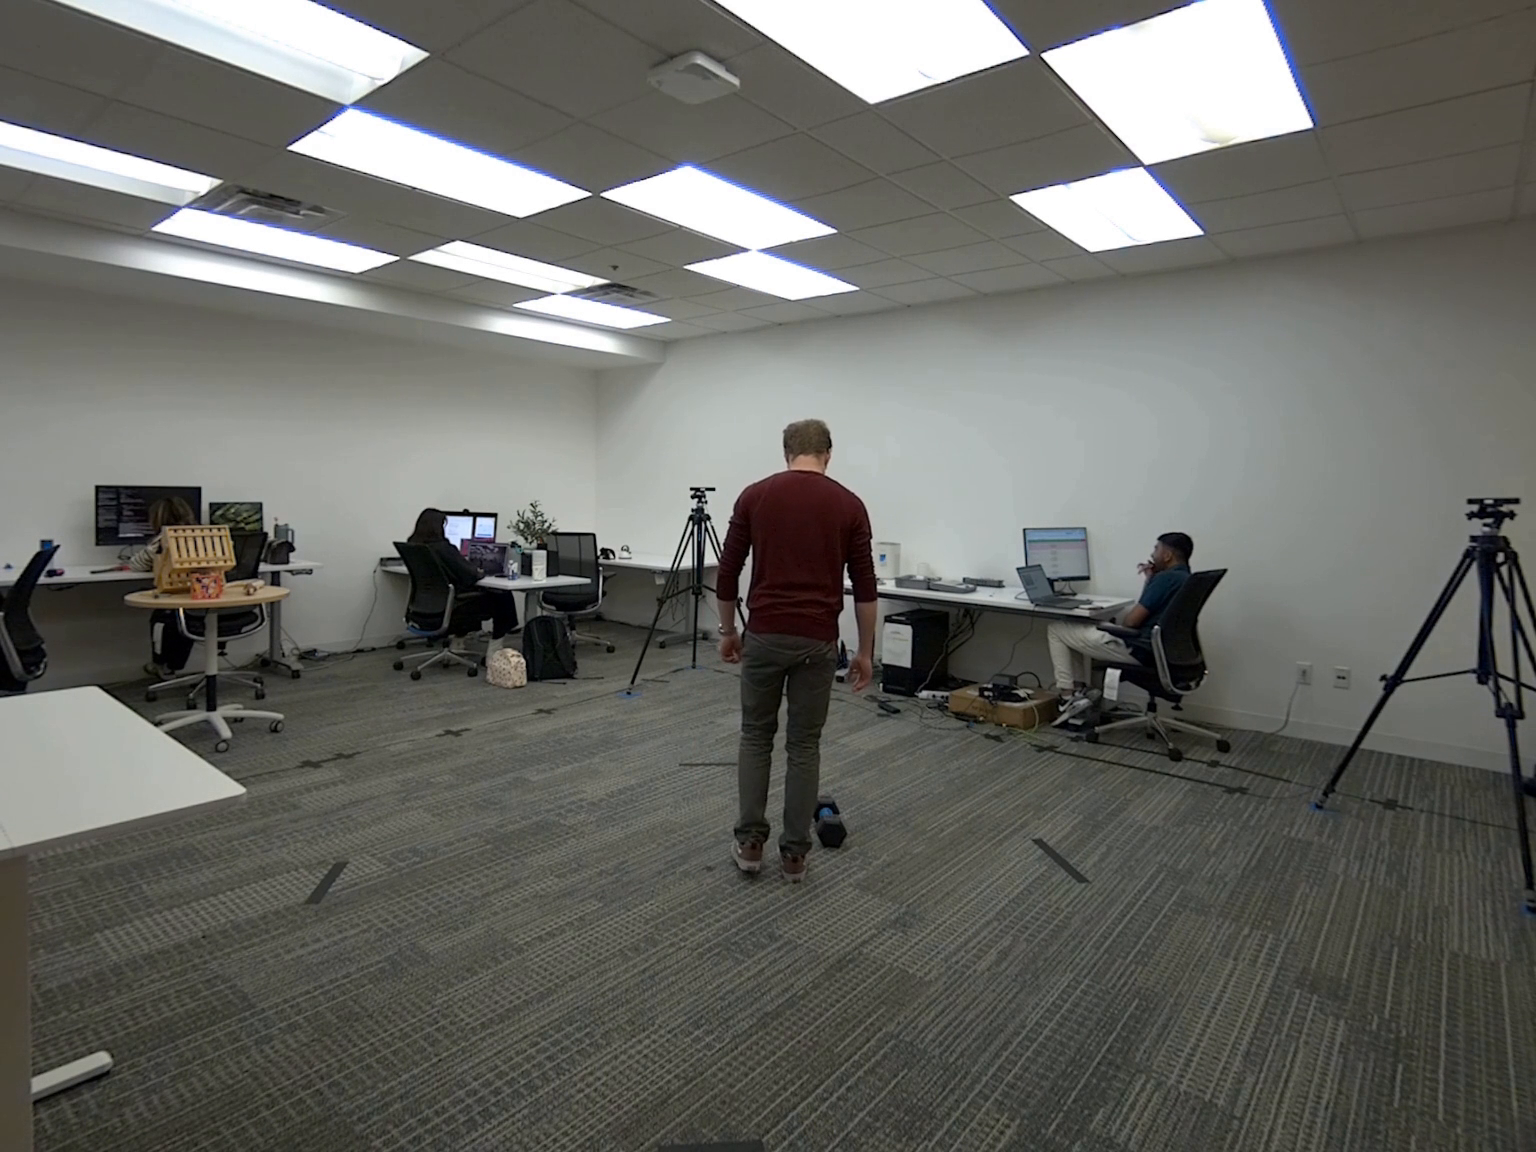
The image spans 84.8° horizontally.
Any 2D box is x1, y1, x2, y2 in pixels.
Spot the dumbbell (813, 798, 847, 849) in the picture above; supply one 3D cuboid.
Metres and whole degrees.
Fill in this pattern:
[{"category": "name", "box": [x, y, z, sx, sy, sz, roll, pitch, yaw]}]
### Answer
[{"category": "dumbbell", "box": [0.237, 0.990, 3.457, 0.109, 0.122, 0.295, -30, 6, 0]}]
